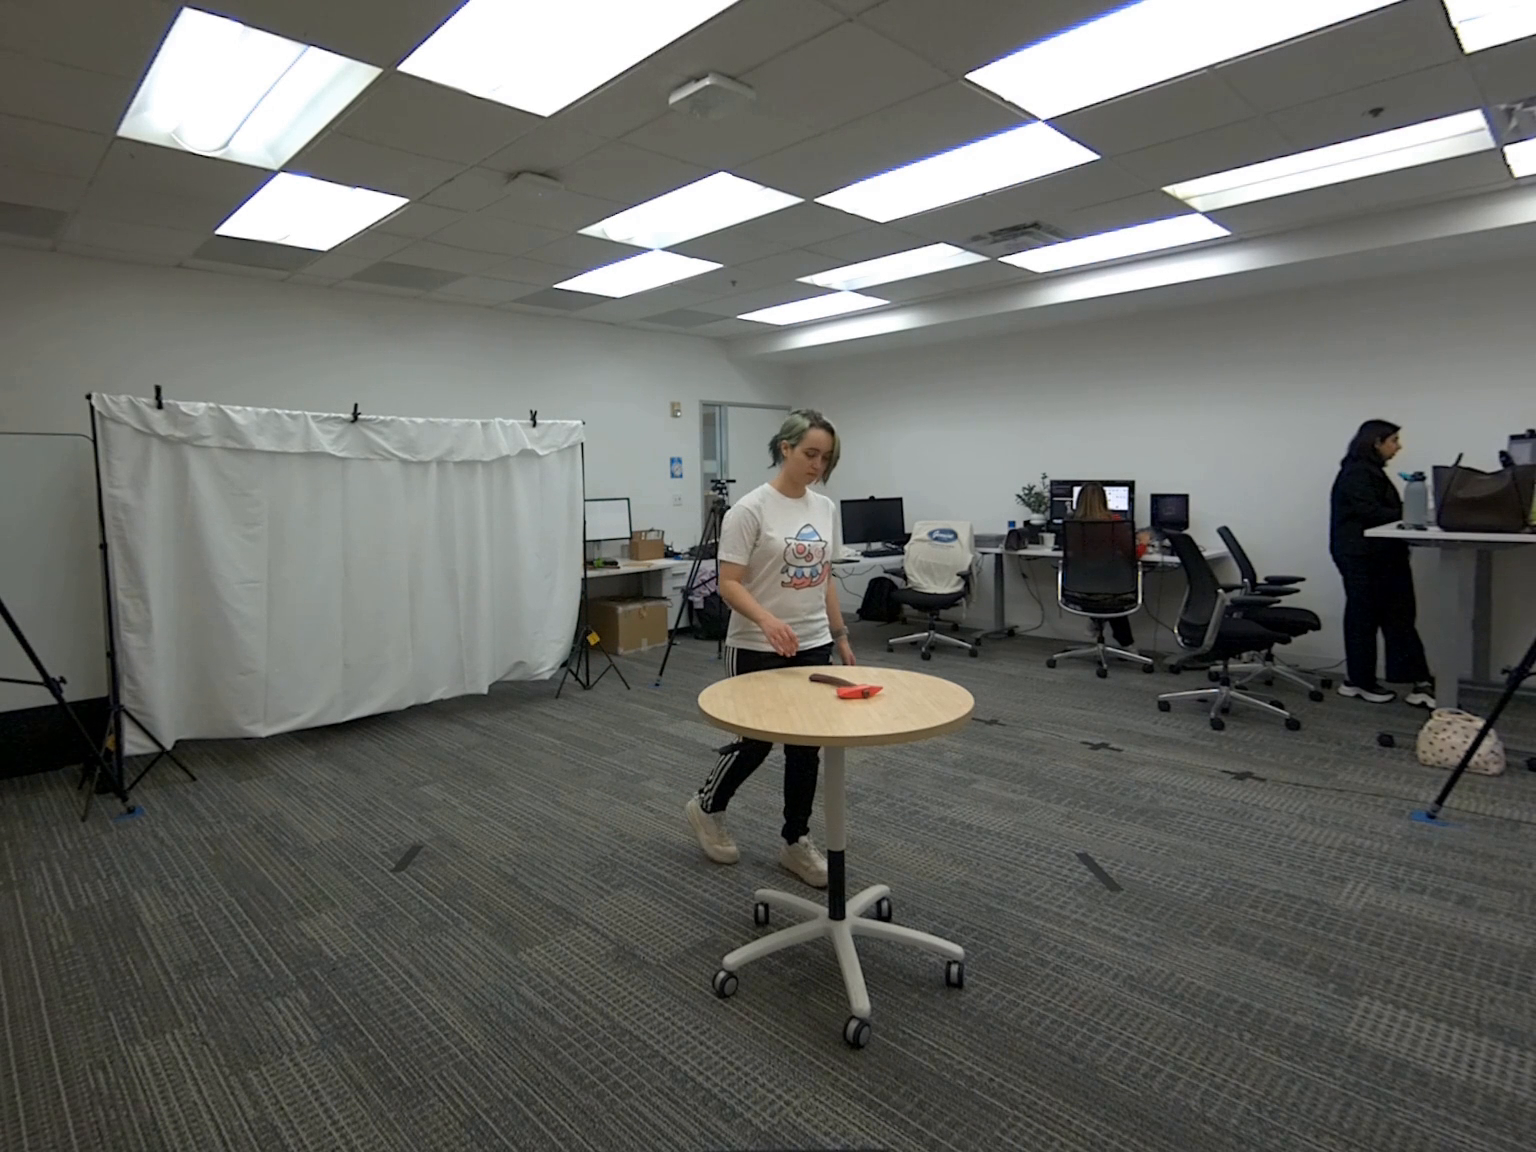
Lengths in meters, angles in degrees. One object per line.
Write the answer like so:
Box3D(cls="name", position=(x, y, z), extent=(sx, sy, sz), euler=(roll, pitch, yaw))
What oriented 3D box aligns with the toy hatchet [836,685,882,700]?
Box3D(cls="toy hatchet", position=(0.191, 0.321, 2.470), extent=(0.128, 0.029, 0.278), euler=(-12, 10, -38))
